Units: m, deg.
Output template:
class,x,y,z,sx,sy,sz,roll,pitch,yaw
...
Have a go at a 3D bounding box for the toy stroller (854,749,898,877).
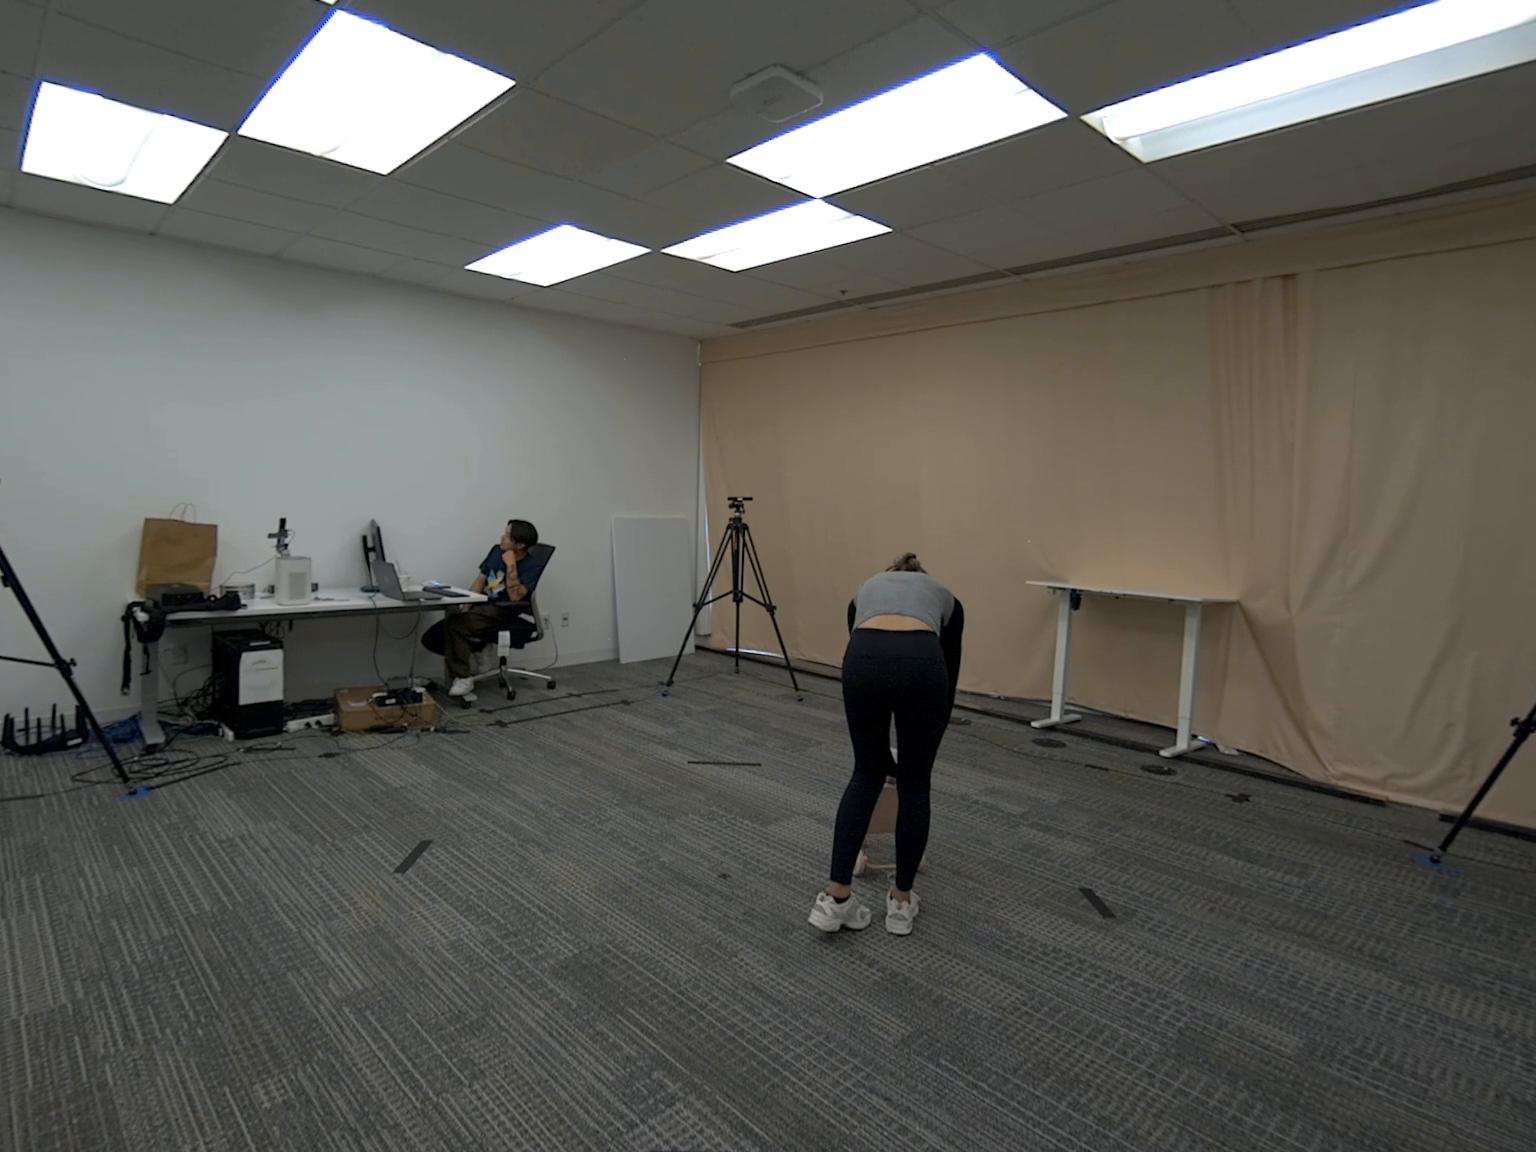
class,x,y,z,sx,sy,sz,roll,pitch,yaw
toy stroller,0.433,0.891,3.221,0.279,0.528,0.348,2,19,-10
